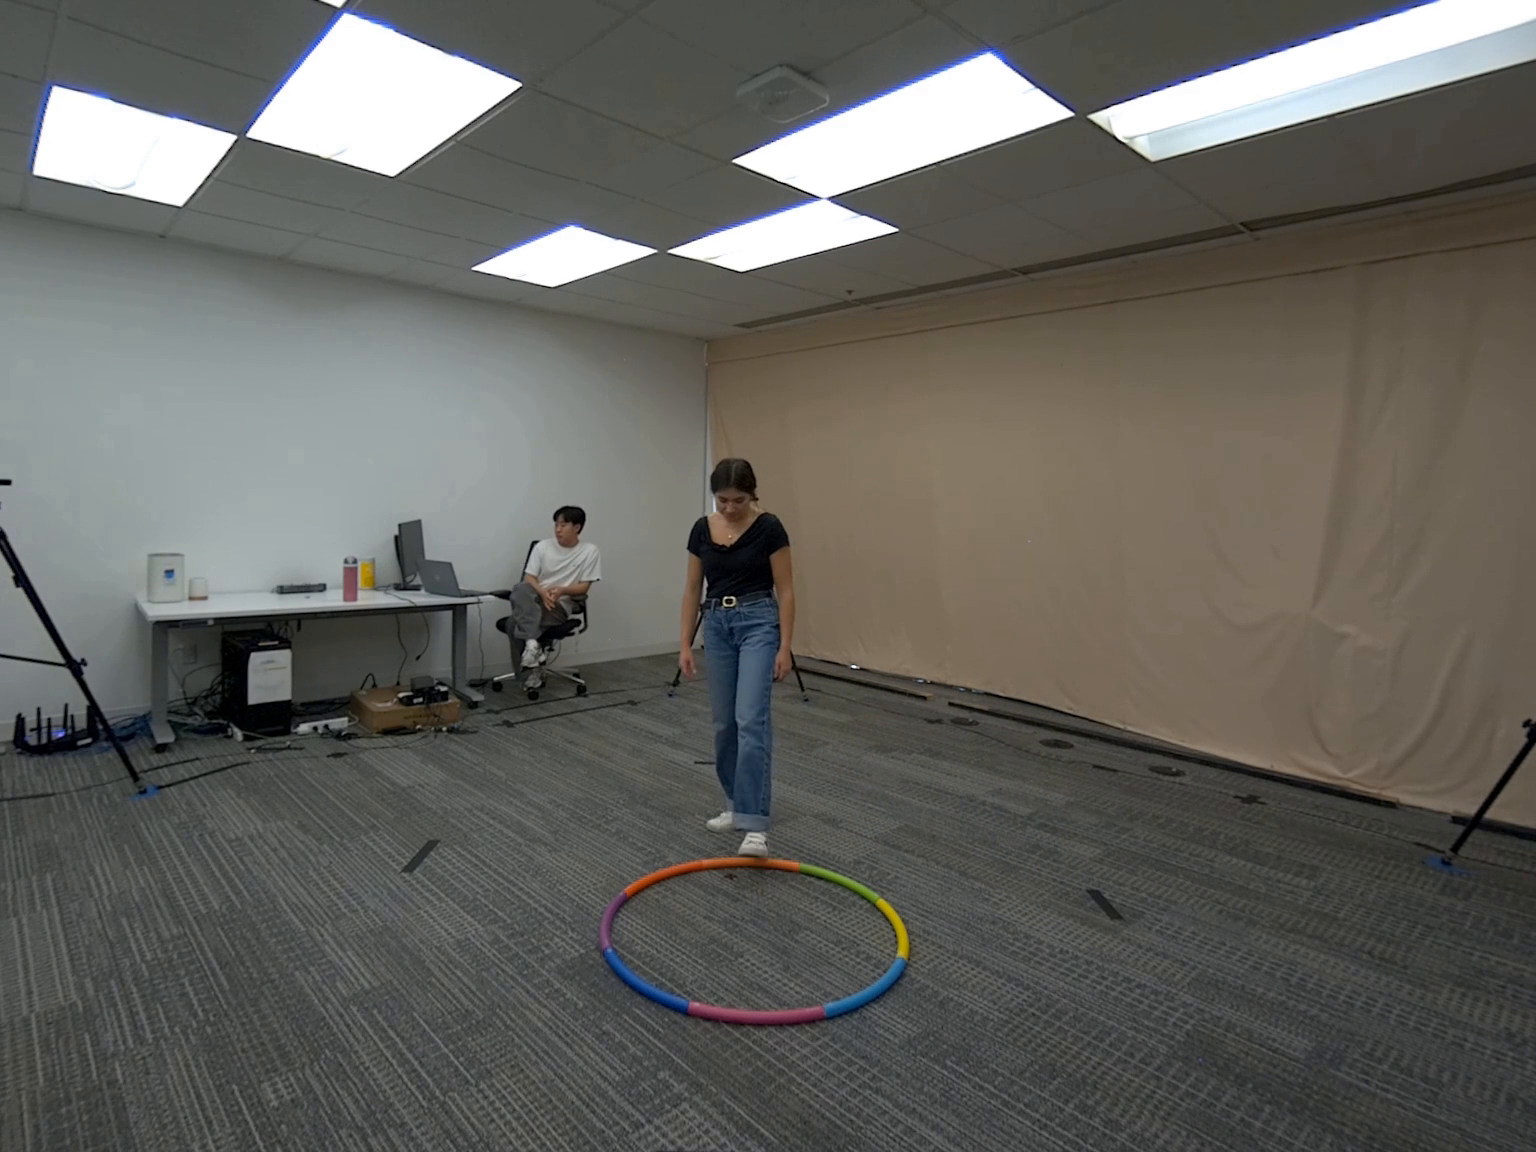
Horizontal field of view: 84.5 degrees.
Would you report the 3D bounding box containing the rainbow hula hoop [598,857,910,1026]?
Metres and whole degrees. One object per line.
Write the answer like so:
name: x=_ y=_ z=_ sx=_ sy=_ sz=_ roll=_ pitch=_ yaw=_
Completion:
rainbow hula hoop: x=-0.050 y=1.118 z=2.709 sx=0.978 sy=0.035 sz=0.982 roll=1 pitch=5 yaw=-1
